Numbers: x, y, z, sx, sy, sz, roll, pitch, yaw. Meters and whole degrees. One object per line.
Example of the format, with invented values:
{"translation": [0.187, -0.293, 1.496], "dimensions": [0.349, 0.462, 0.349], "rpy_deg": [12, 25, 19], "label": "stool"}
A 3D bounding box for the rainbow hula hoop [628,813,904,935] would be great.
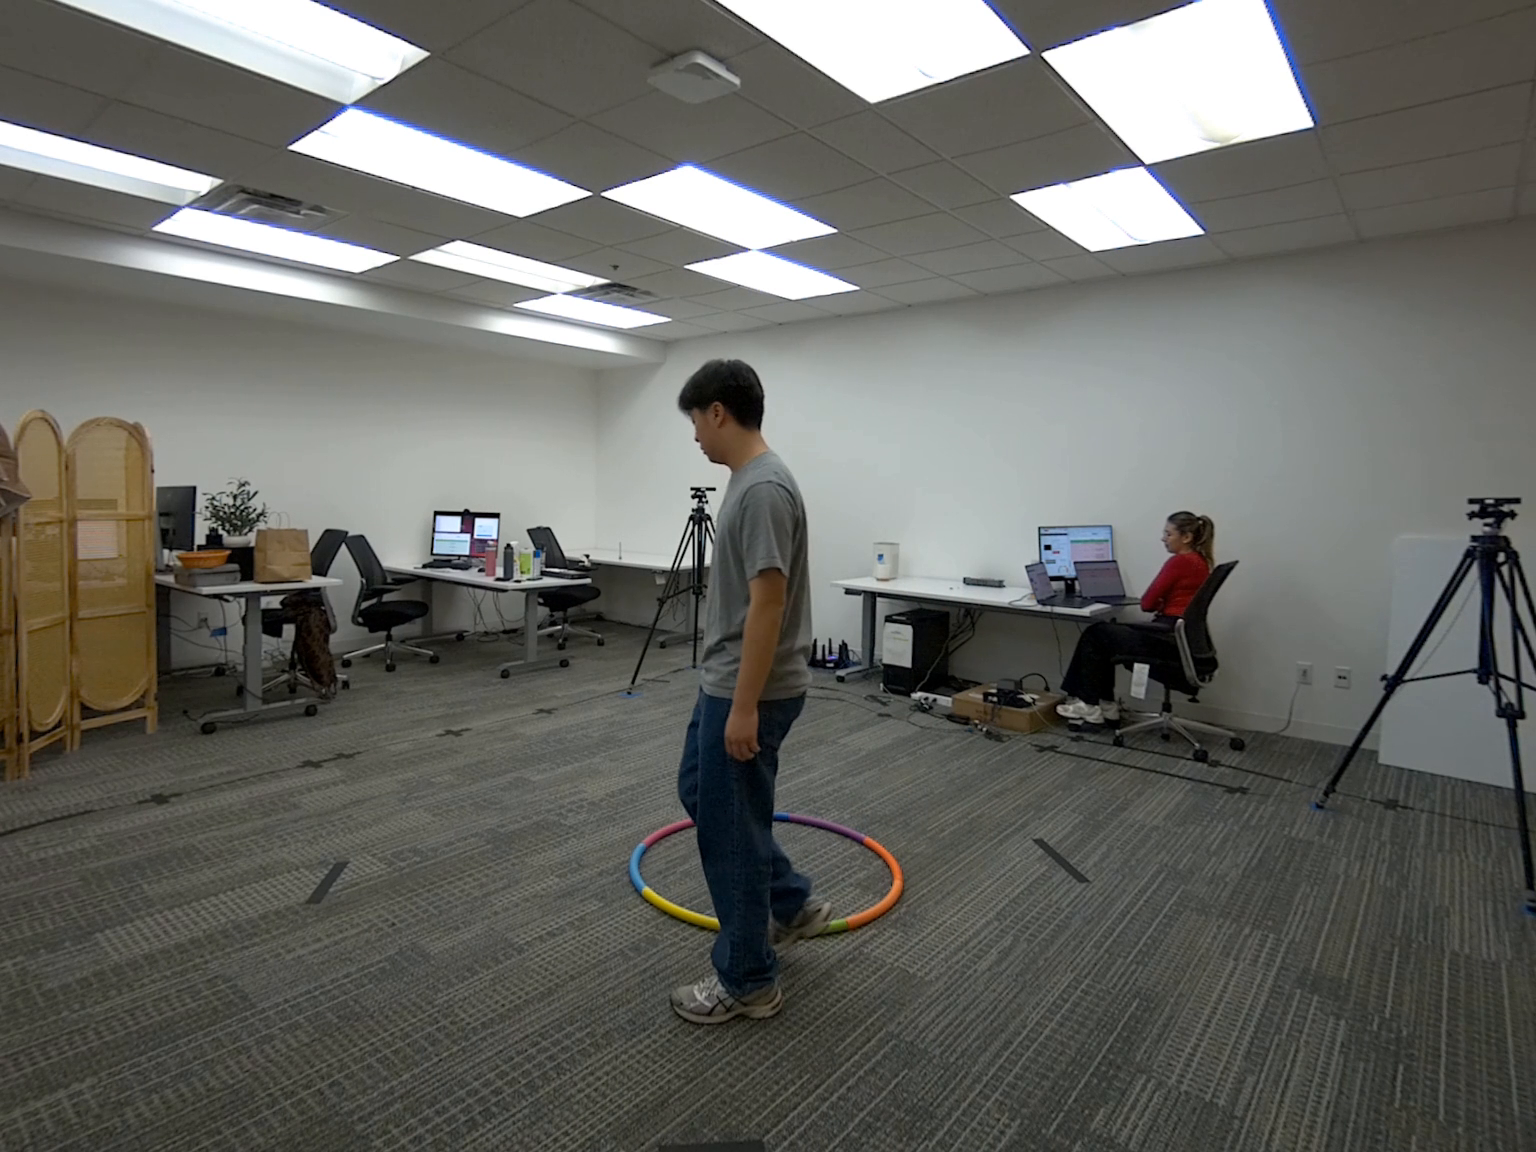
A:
{"translation": [-0.020, 1.038, 3.101], "dimensions": [0.978, 0.035, 0.984], "rpy_deg": [1, 5, -2], "label": "rainbow hula hoop"}
